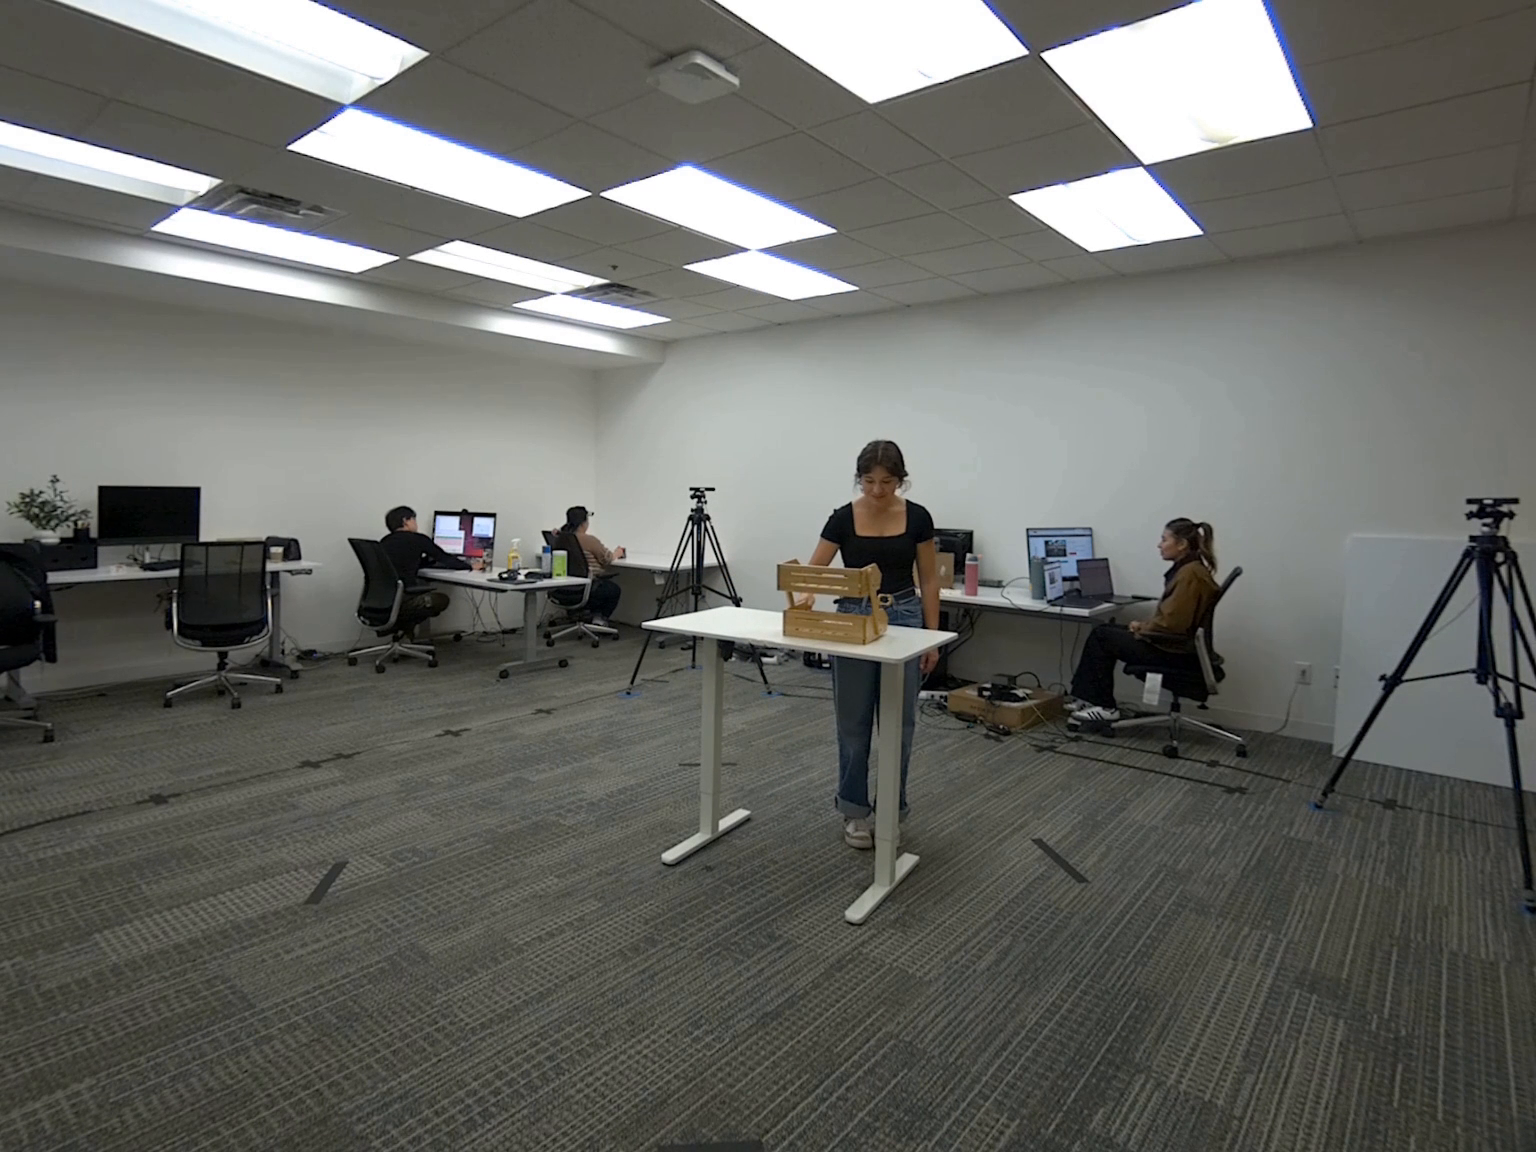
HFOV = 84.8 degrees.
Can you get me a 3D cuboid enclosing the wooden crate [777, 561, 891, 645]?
[{"bbox_3d":[0.221,0.070,2.971,0.333,0.271,0.296,4,8,25],"label":"wooden crate"}]
